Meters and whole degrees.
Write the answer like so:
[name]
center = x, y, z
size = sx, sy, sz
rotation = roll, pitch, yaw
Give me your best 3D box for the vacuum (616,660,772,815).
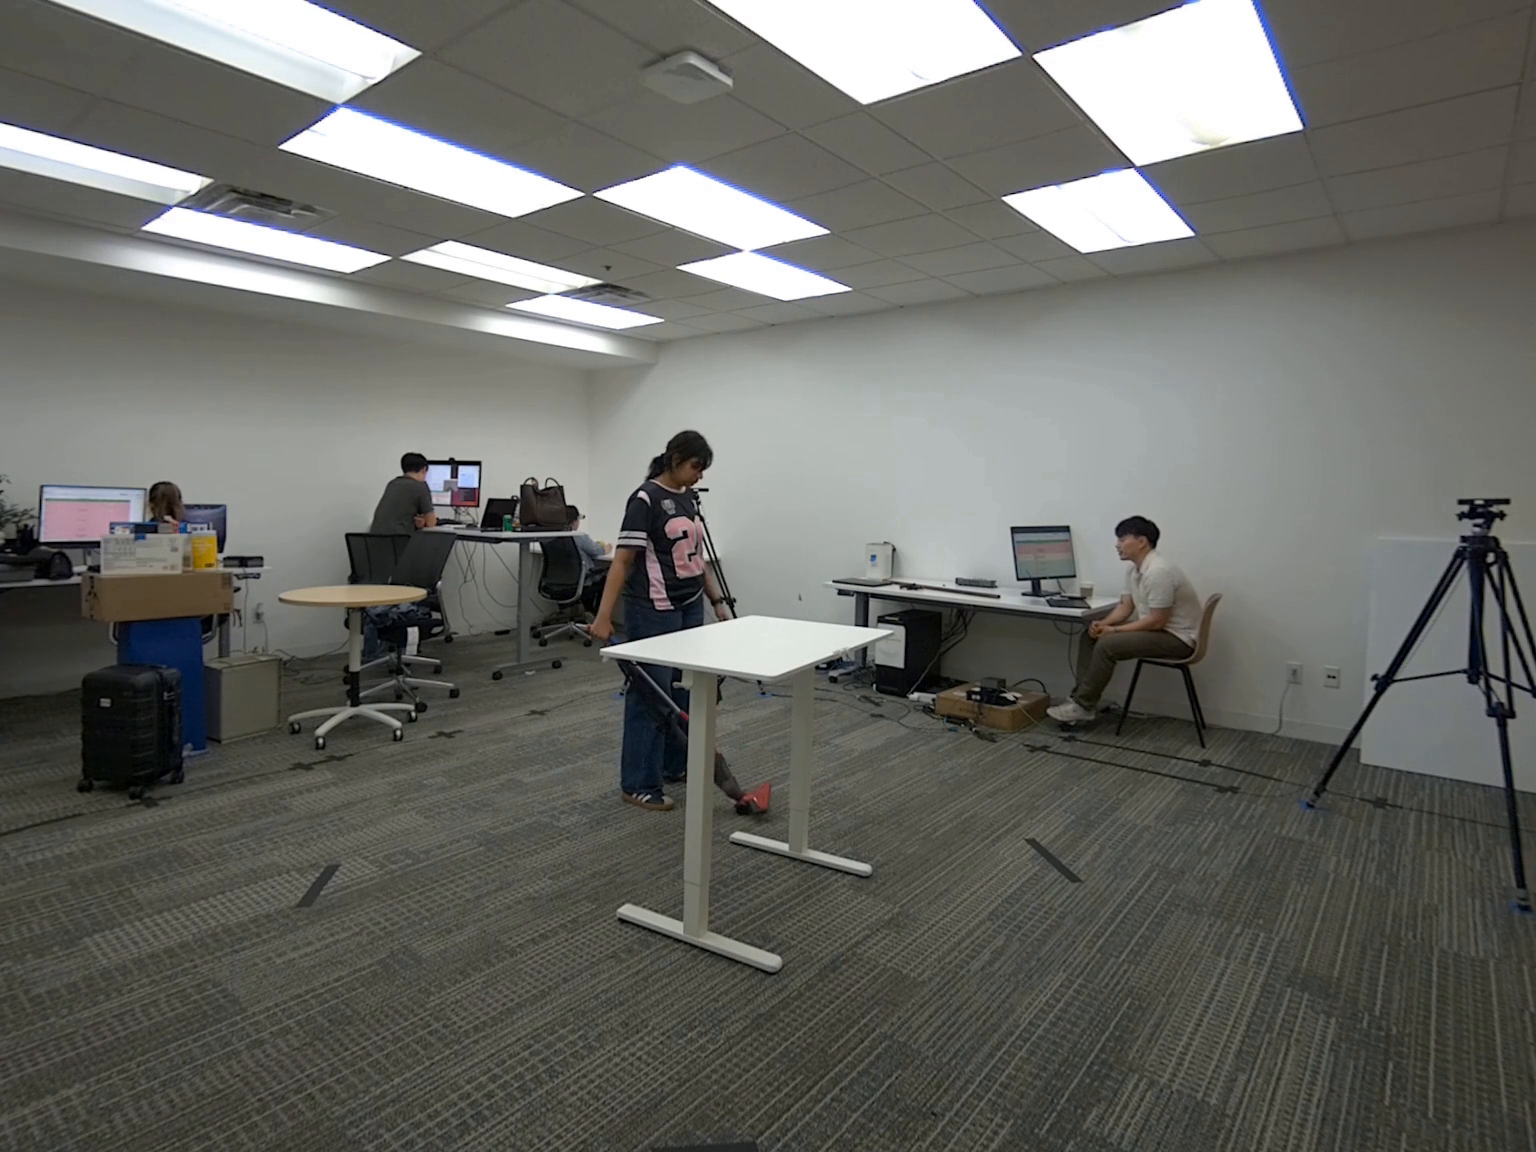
[vacuum]
center = -0.403, 0.623, 3.671
size = 0.144, 1.044, 0.253
rotation = -44, 4, 8
